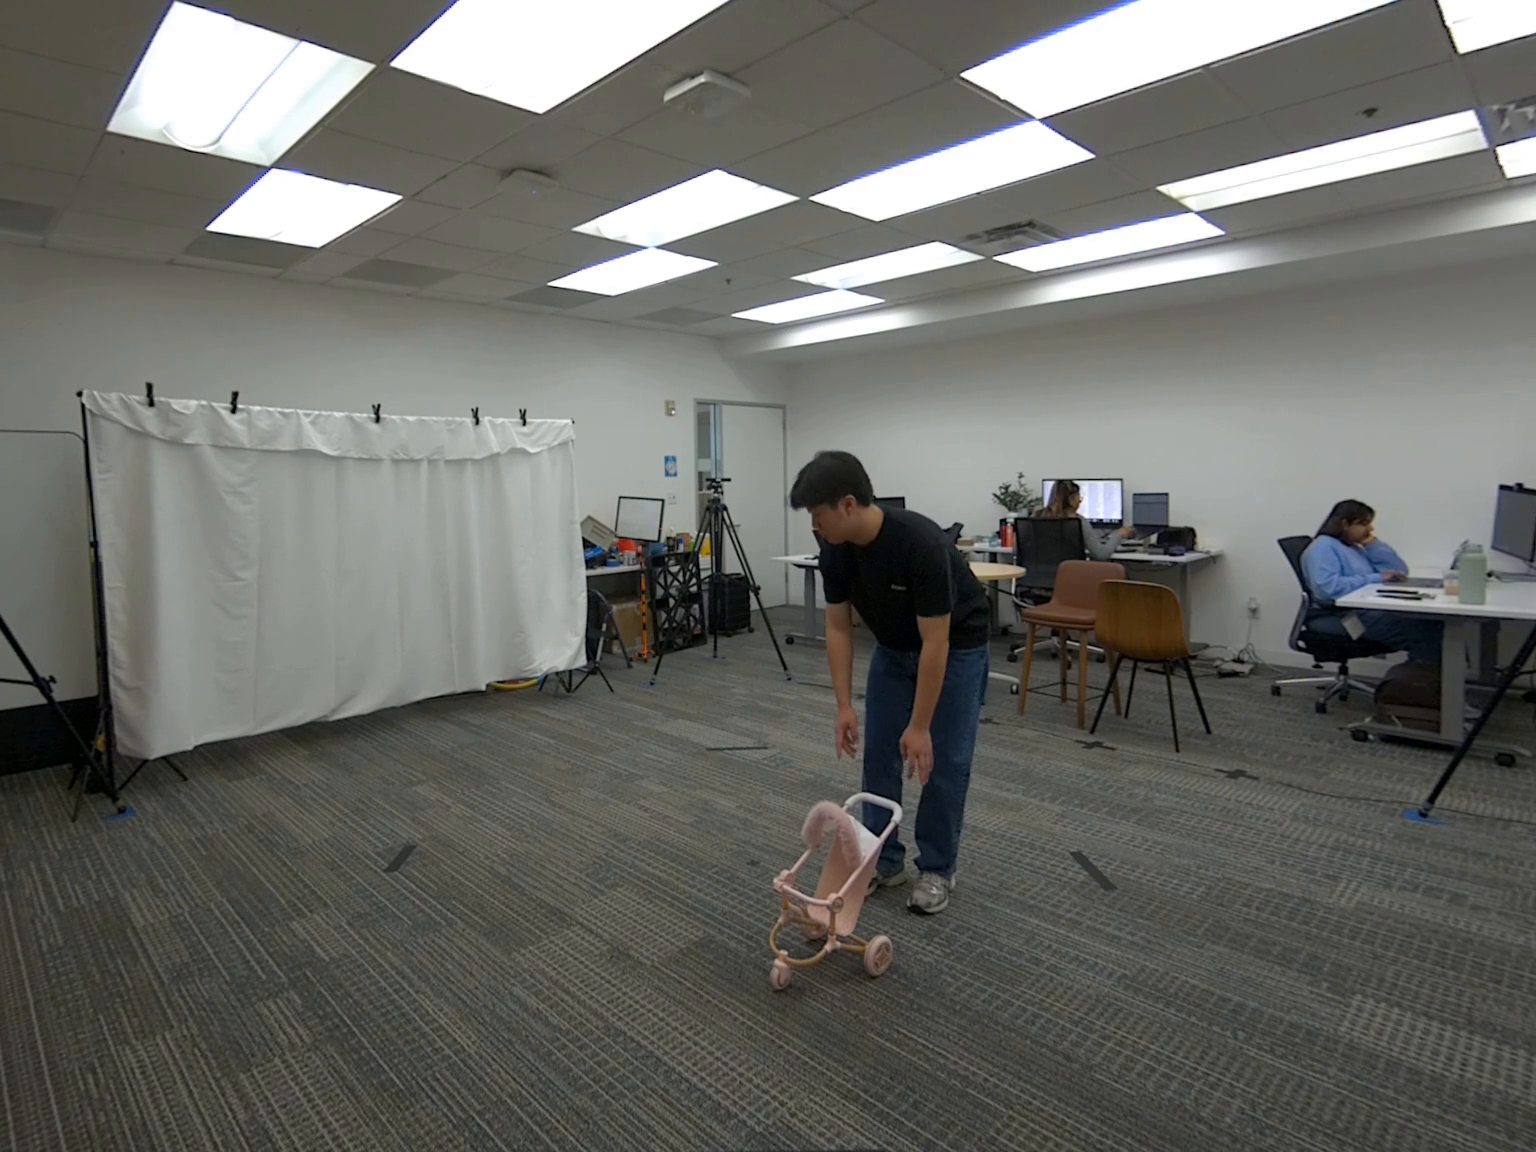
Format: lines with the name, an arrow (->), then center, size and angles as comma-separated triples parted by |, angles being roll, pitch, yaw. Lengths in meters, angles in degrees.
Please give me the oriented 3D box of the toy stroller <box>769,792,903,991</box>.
toy stroller -> 0.178, 0.893, 2.445 | 0.330, 0.537, 0.289 | 15, -7, -35
